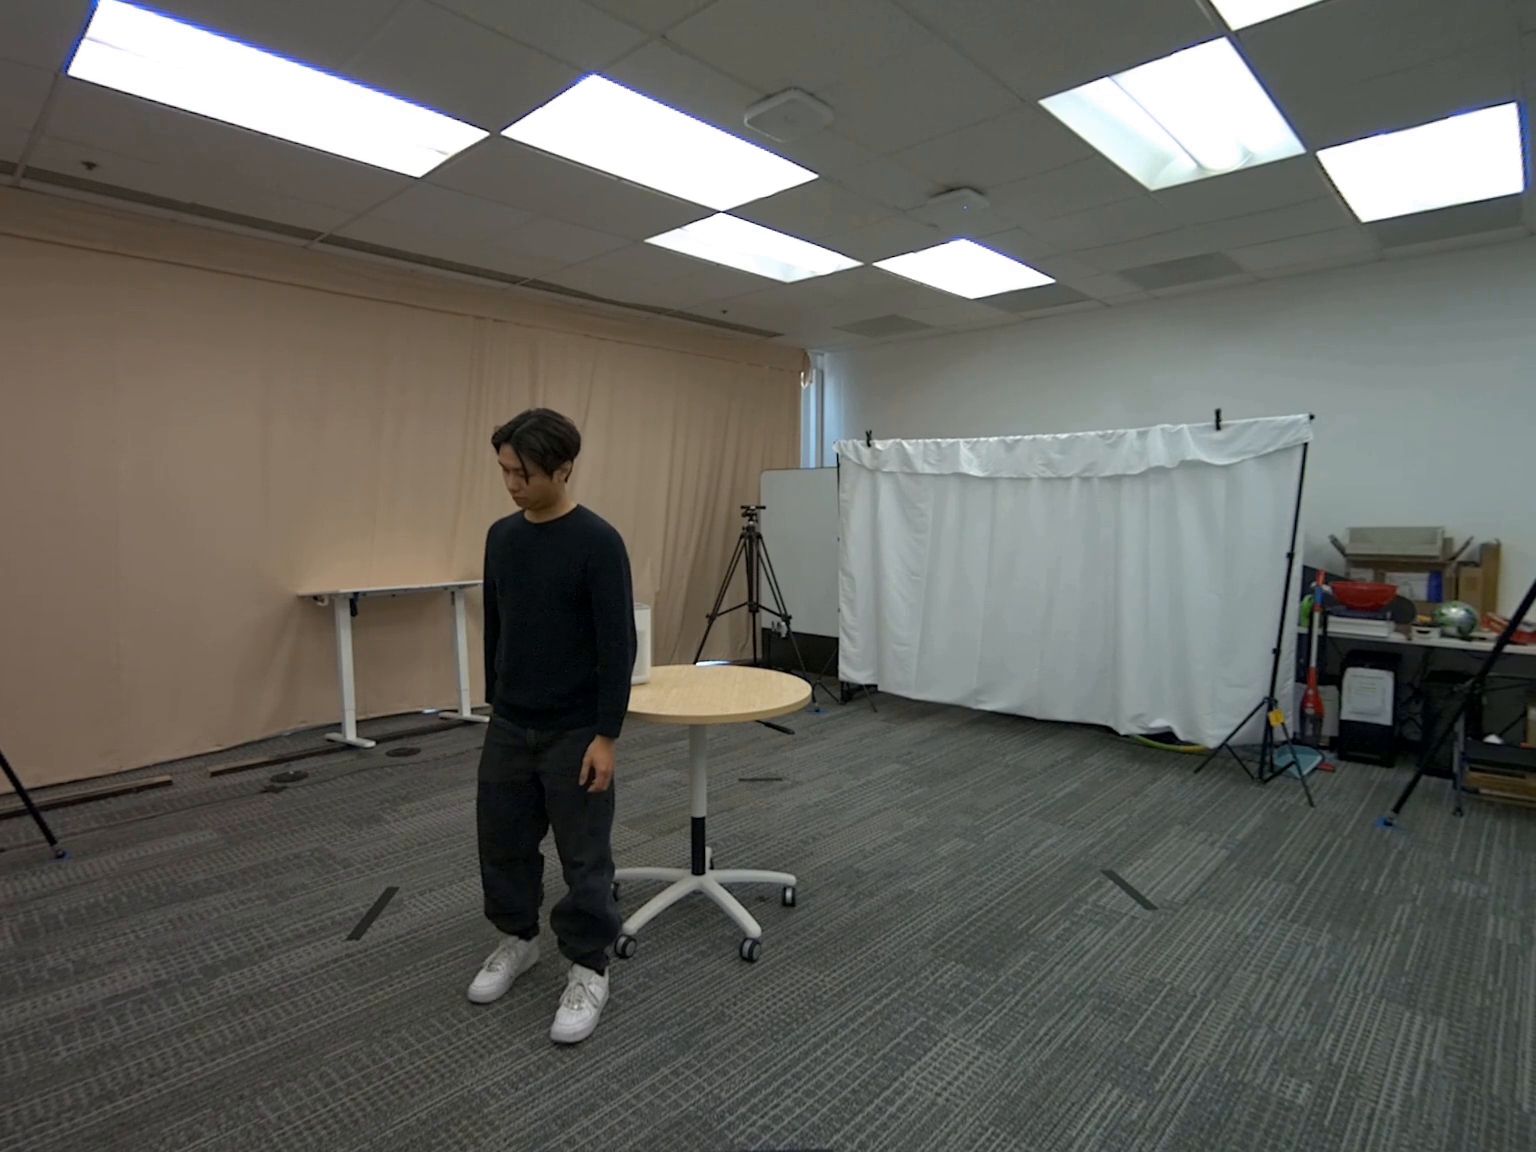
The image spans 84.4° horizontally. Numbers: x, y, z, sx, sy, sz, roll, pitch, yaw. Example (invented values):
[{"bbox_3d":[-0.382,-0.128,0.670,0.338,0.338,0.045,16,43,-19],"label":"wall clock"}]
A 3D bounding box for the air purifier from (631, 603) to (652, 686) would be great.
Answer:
[{"bbox_3d":[-0.500,0.236,2.901,0.167,0.265,0.176,-2,4,-30],"label":"air purifier"}]
